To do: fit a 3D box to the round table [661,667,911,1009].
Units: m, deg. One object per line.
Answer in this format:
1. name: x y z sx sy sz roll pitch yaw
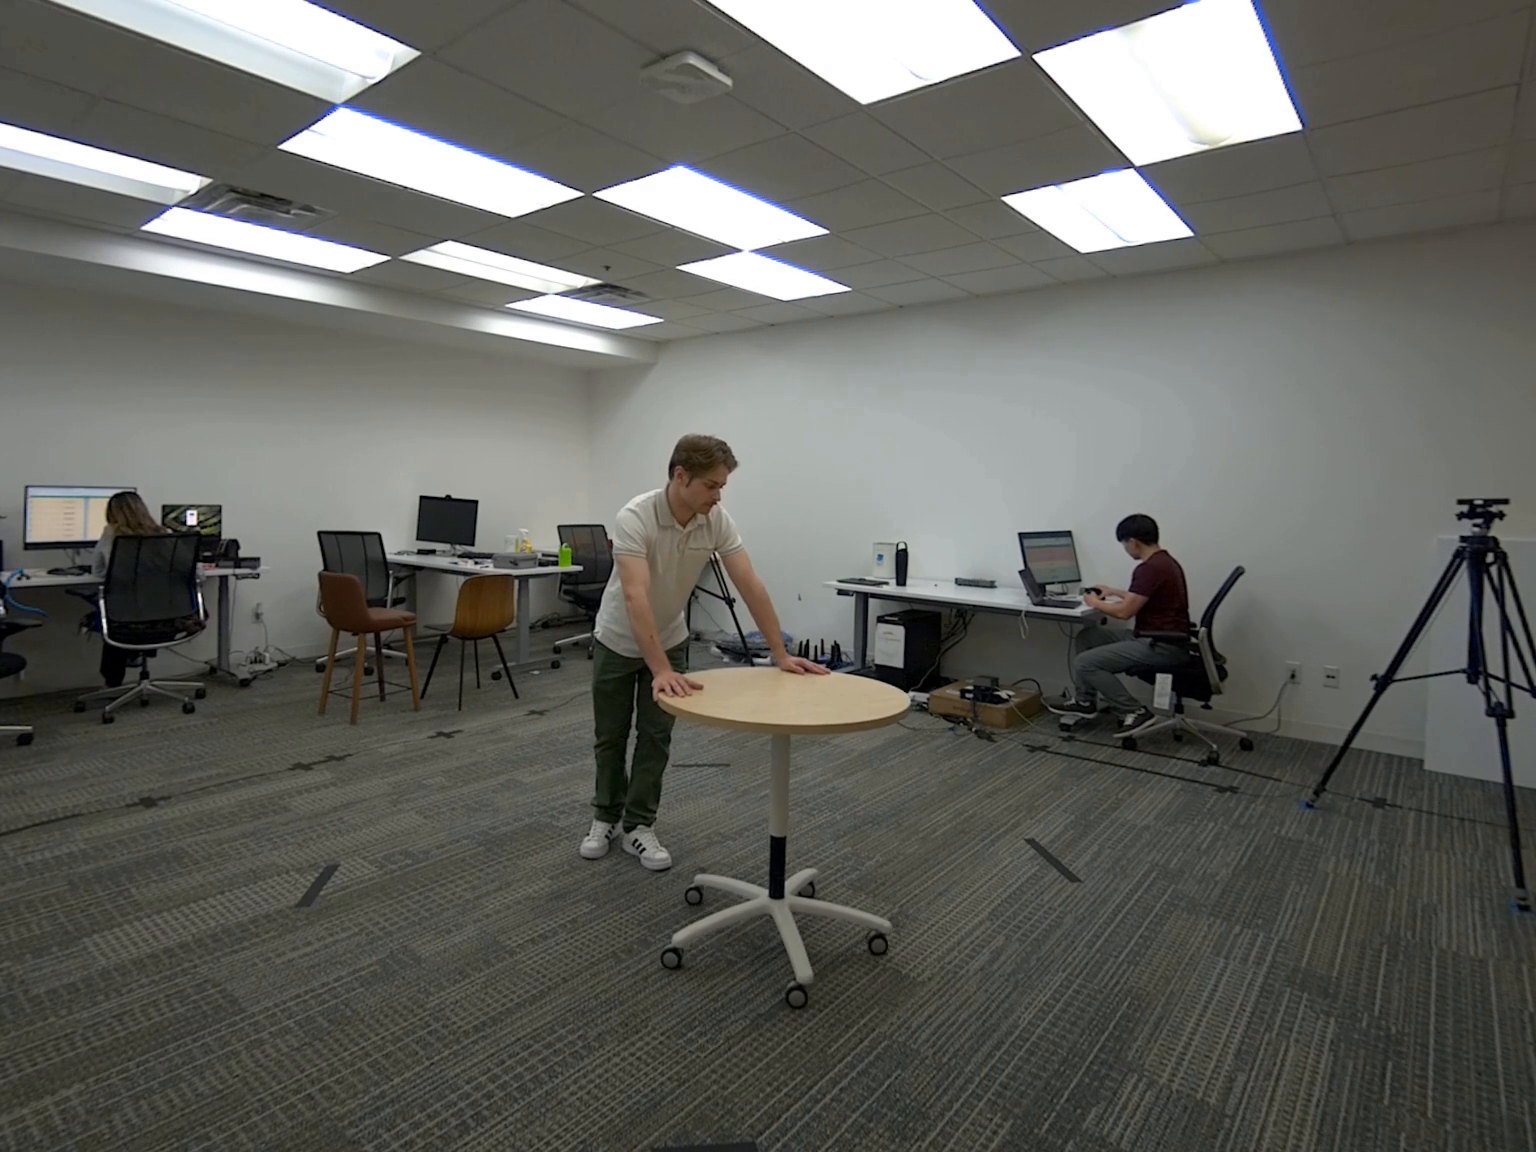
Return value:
1. round table: 0.023 0.739 2.605 0.763 0.791 0.768 1 4 -2
